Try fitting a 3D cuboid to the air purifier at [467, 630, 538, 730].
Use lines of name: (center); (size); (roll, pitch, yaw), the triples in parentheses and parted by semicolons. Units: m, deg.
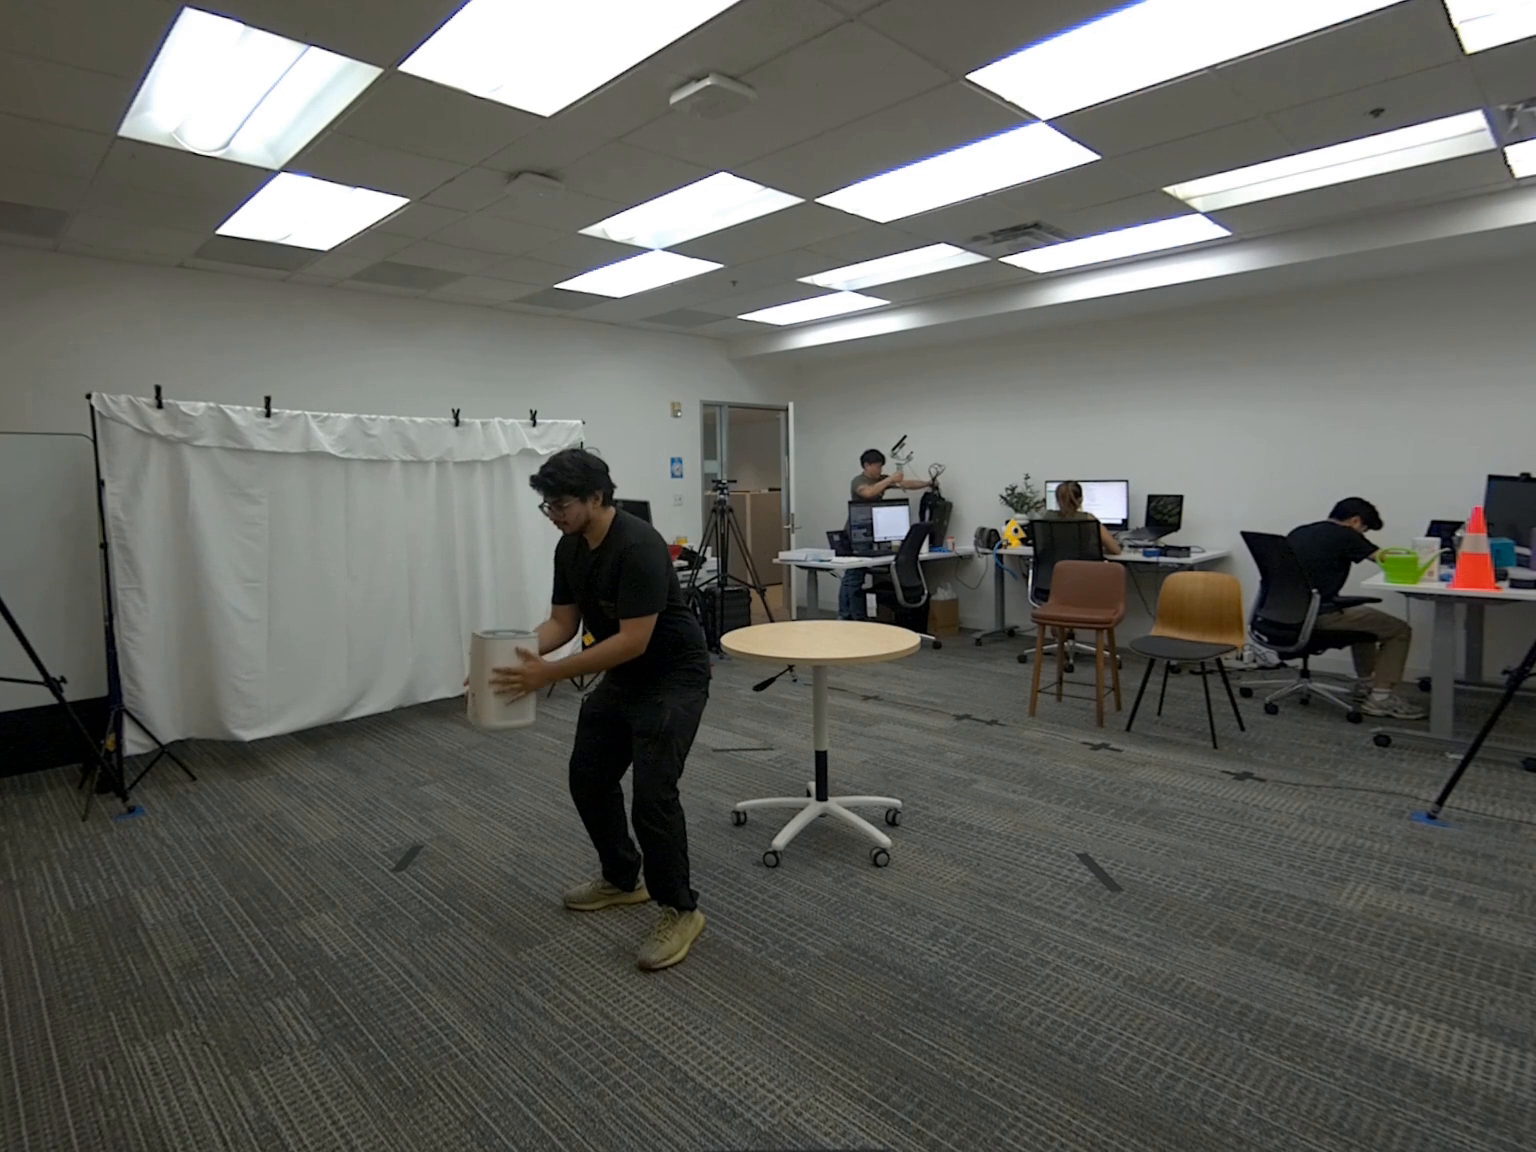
air purifier: (-0.745, 0.298, 2.419); (0.167, 0.265, 0.176); (1, 3, -38)
